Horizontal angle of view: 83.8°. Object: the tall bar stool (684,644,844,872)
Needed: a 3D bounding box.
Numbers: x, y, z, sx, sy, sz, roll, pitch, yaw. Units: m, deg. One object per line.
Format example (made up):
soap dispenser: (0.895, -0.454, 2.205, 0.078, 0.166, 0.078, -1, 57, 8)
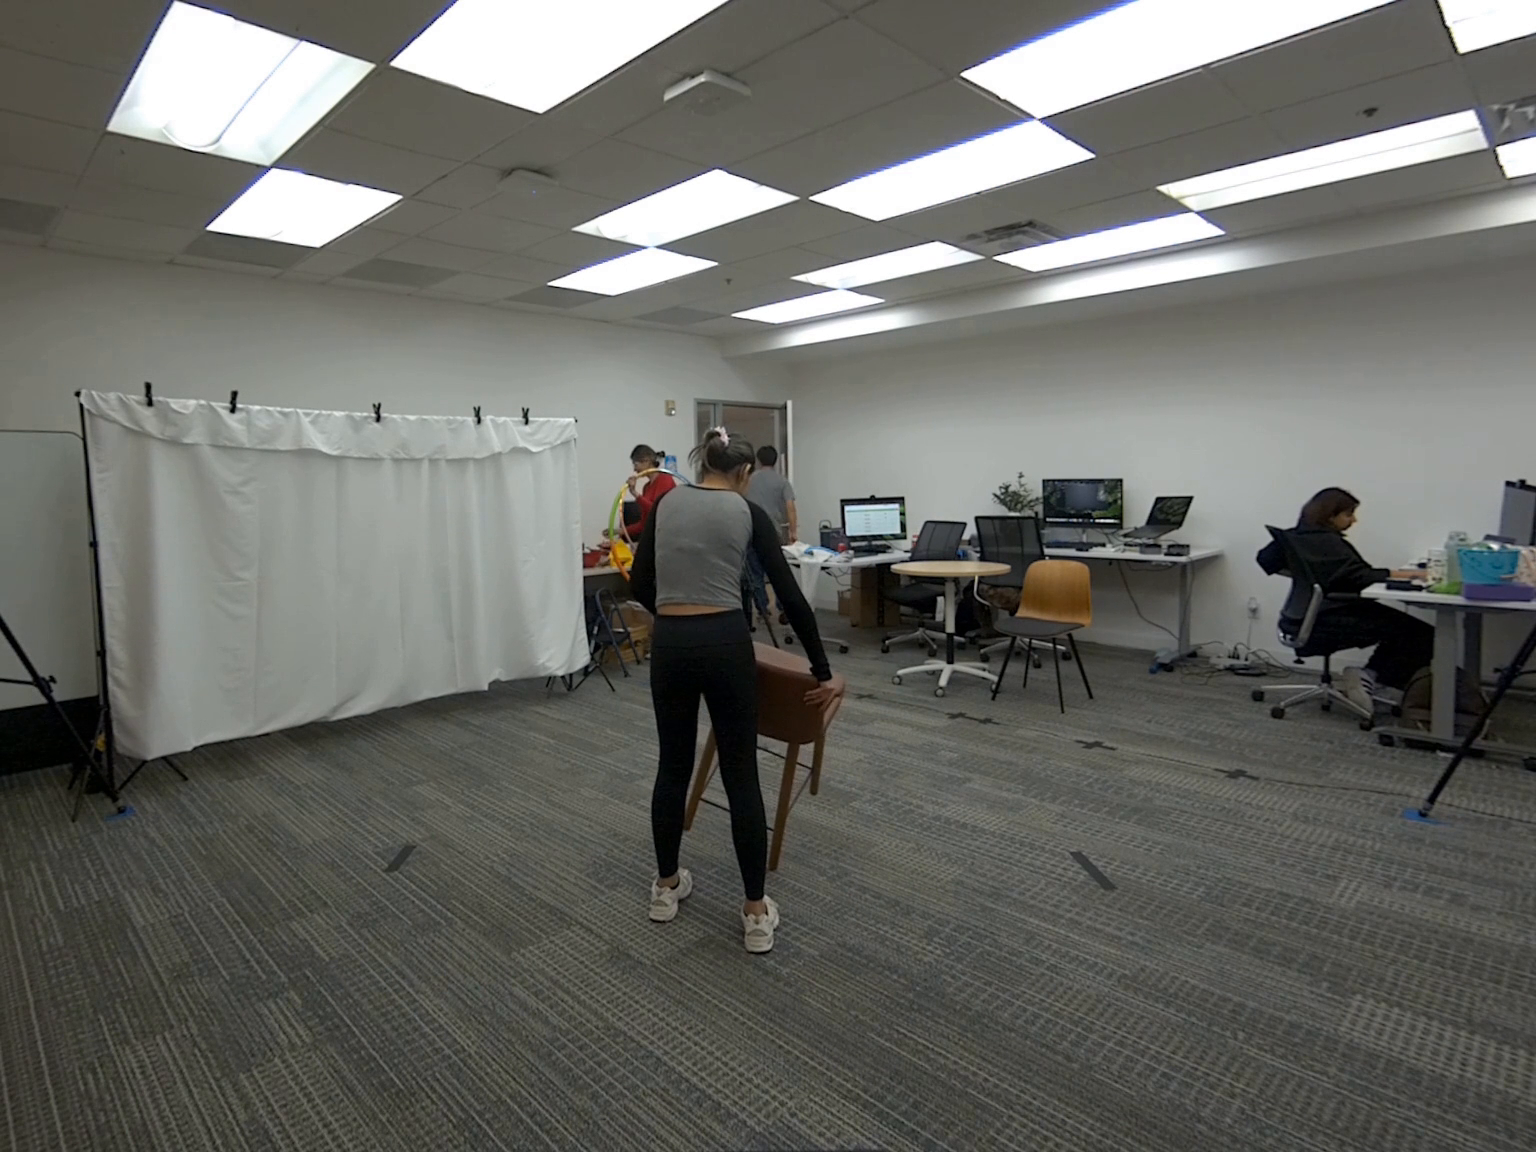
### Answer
tall bar stool: (-0.003, 0.539, 3.079, 0.466, 0.872, 0.467, 19, 32, 17)
